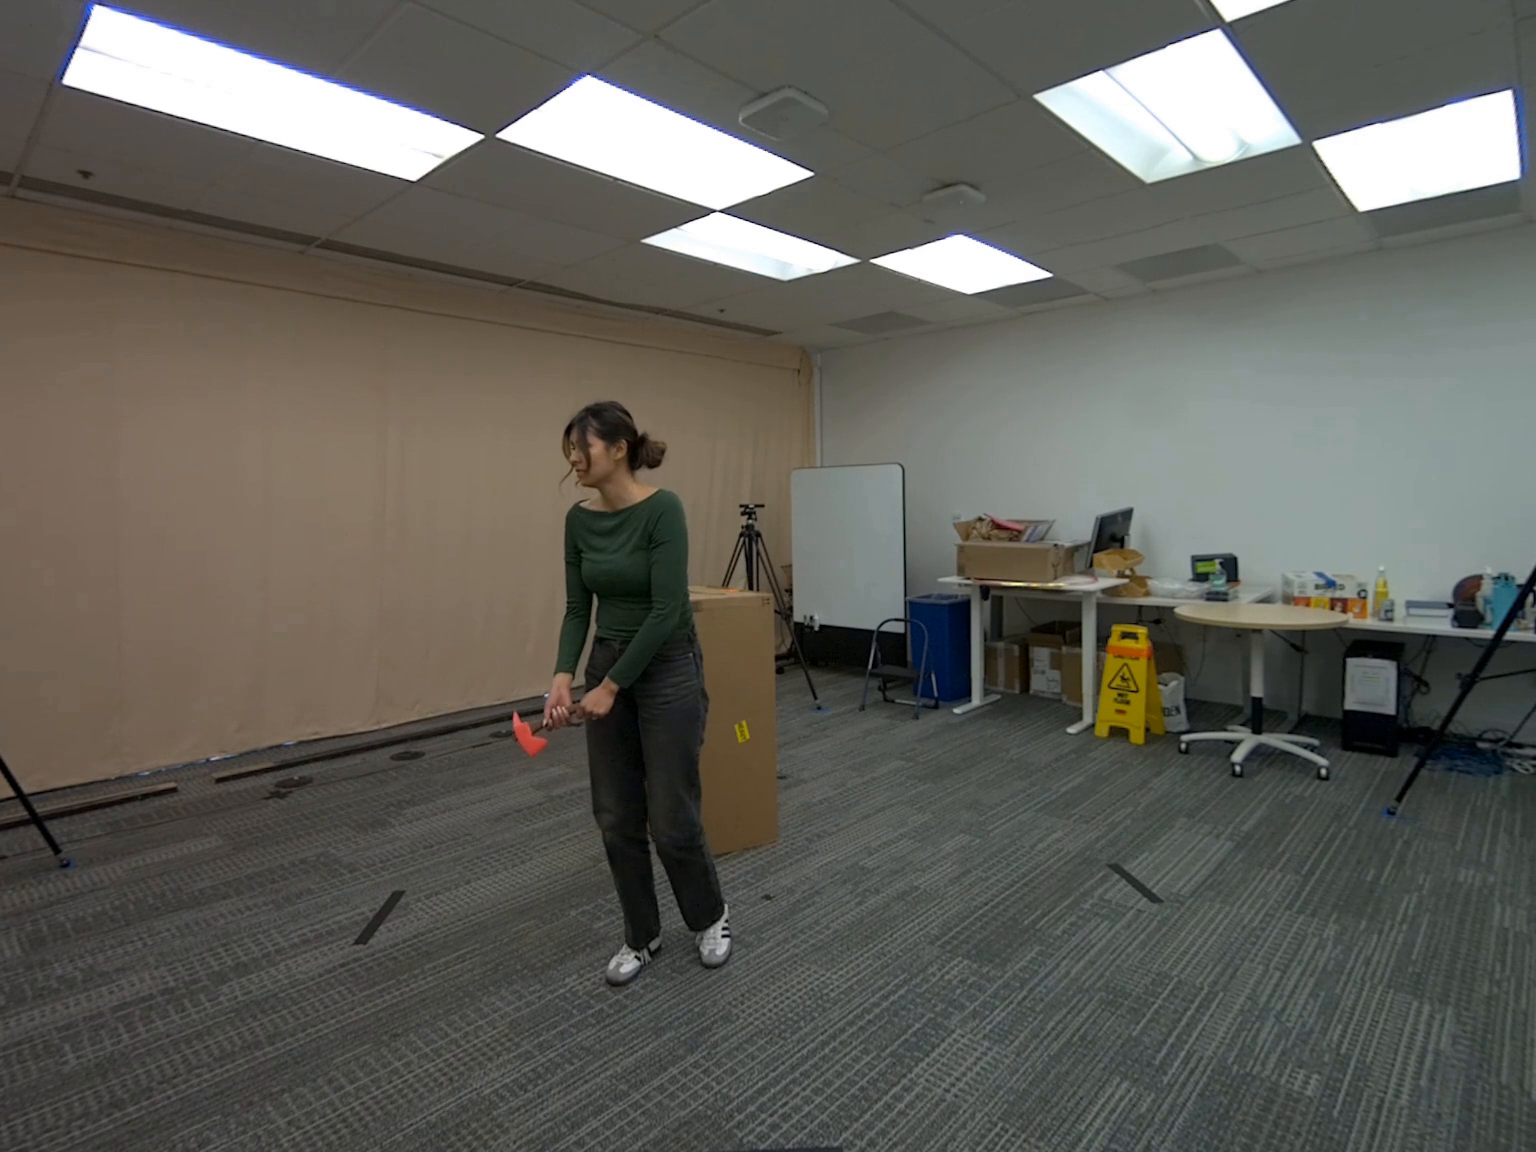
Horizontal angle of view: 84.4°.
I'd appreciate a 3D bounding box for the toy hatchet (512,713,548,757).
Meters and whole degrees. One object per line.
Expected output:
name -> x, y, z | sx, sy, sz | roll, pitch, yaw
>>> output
toy hatchet -> -0.565, 0.424, 2.325 | 0.270, 0.133, 0.029 | -7, -26, -1
